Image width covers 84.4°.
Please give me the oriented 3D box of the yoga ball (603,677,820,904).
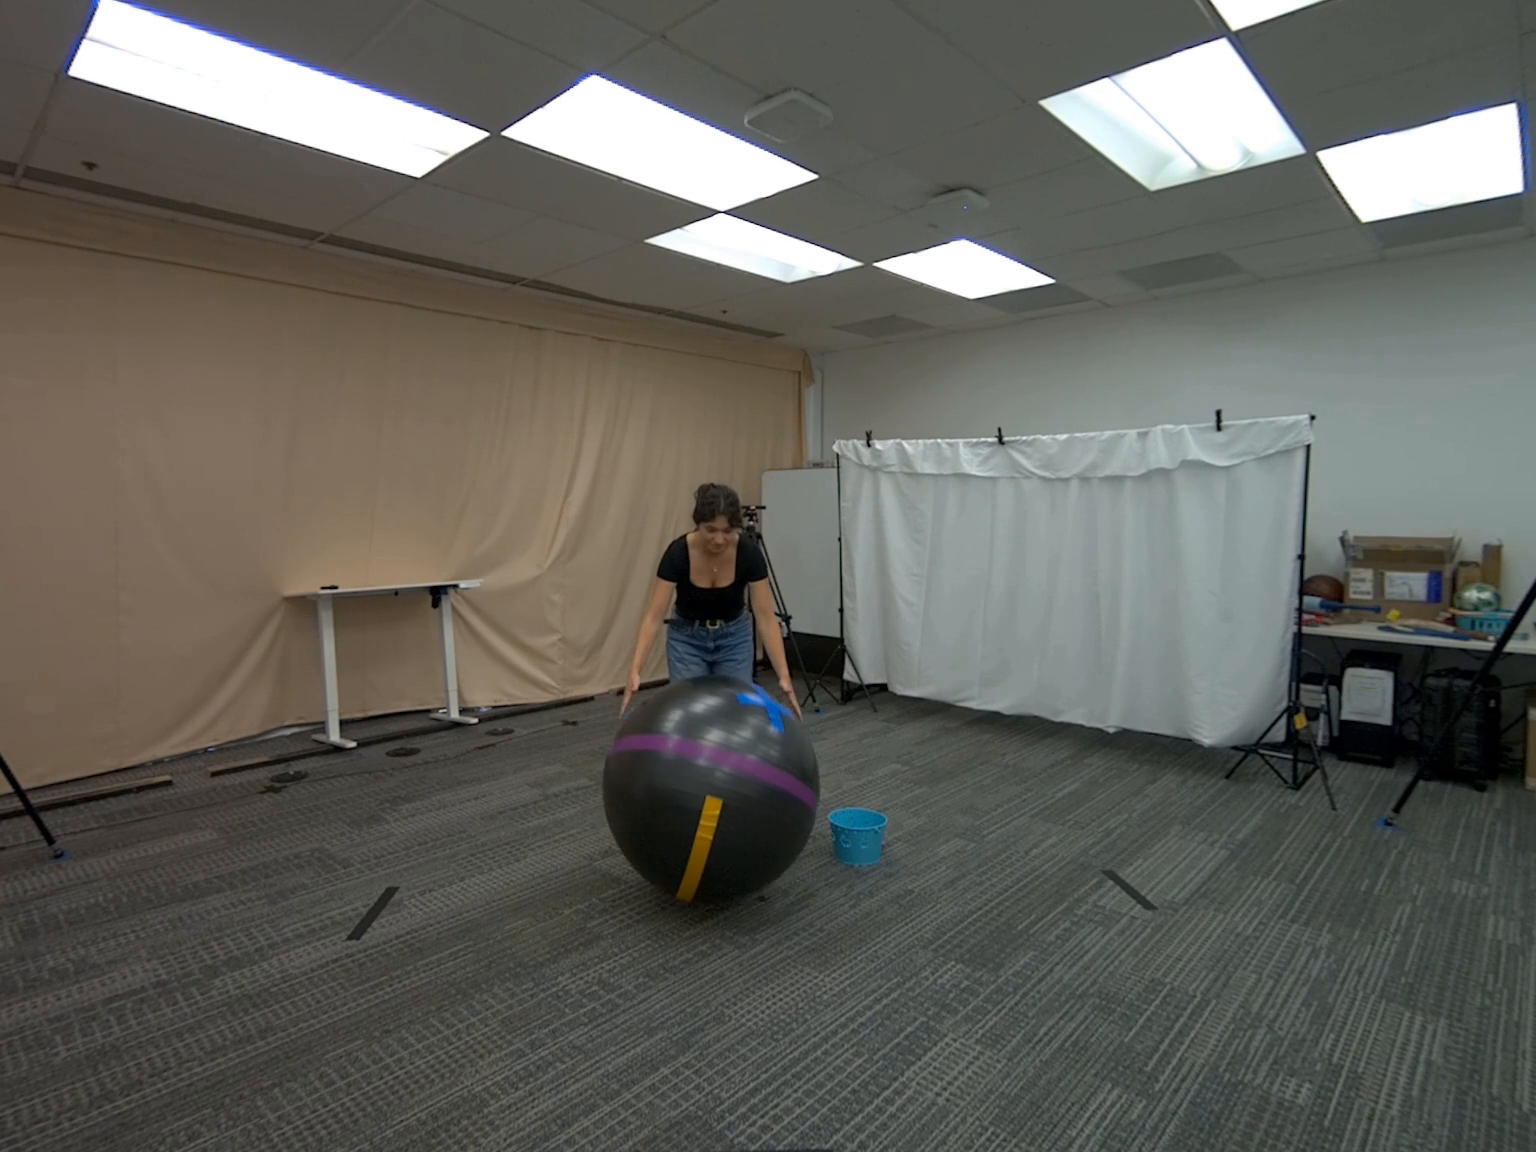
[{"bbox_3d":[-0.199,0.713,2.928,0.757,0.756,0.760,0,4,-2],"label":"yoga ball"}]
